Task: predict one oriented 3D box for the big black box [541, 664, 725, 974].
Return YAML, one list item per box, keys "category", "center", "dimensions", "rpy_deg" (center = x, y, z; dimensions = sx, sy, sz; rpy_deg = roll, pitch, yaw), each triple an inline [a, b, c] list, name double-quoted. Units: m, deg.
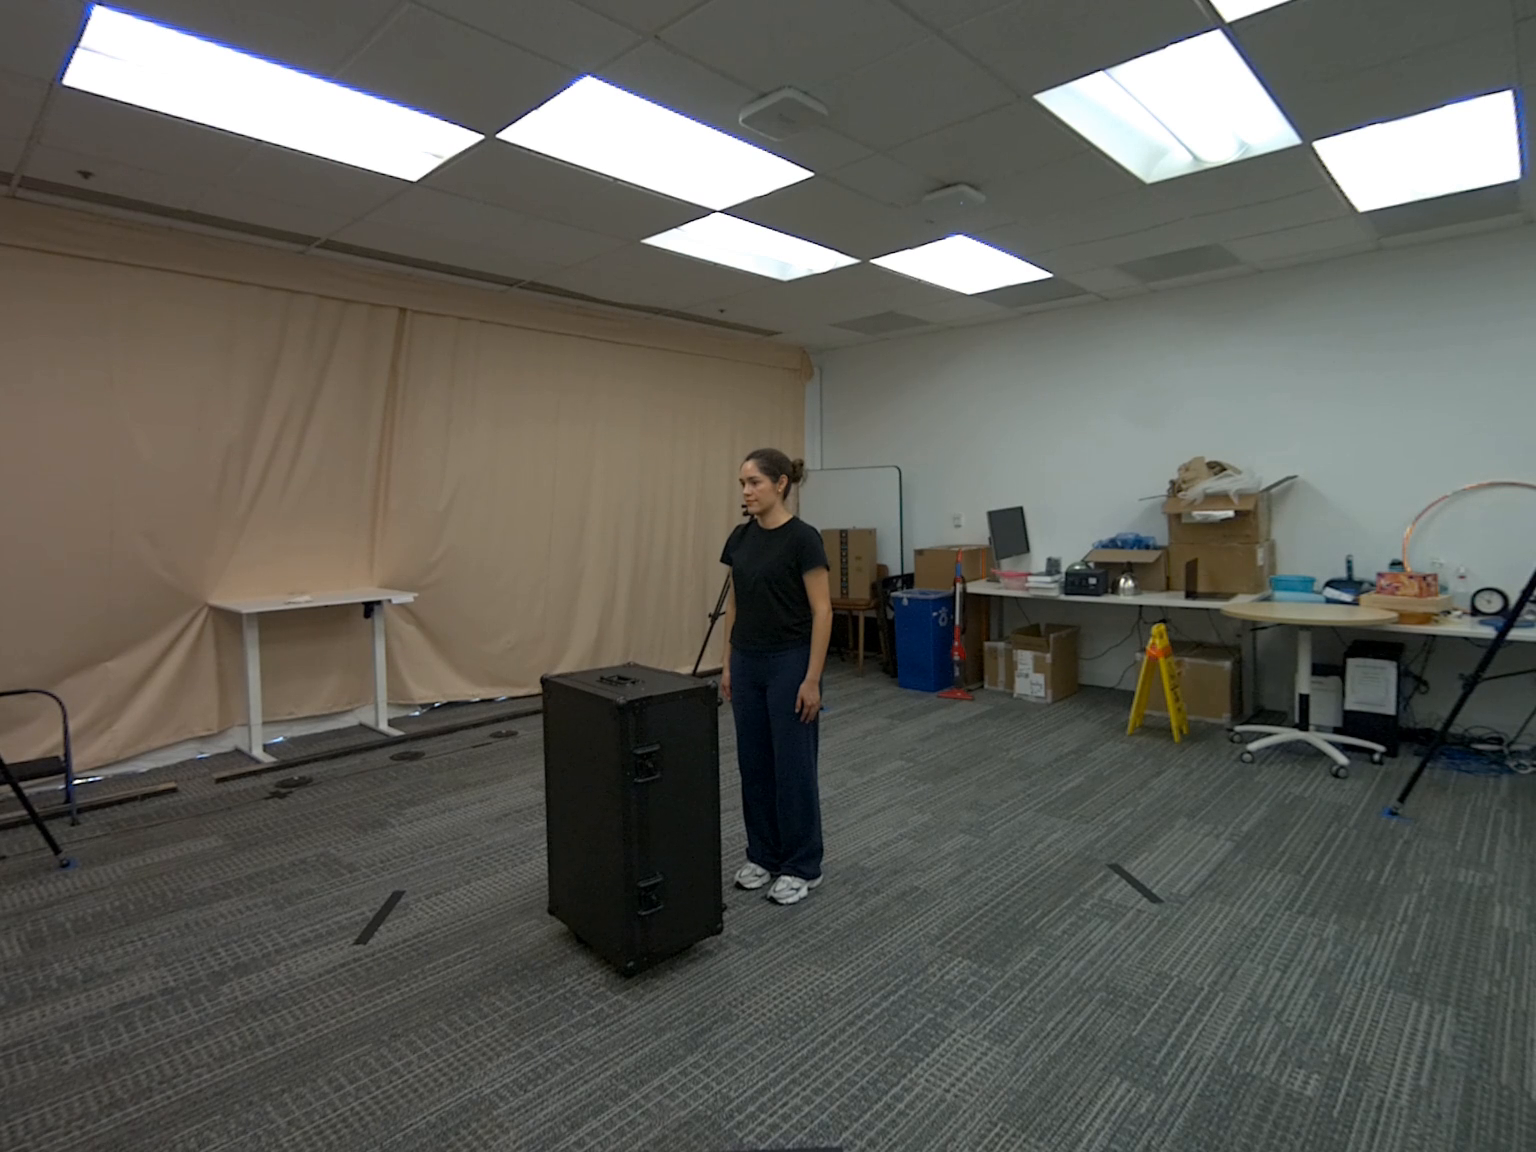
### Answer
- category: "big black box"
  center: [-0.413, 0.692, 2.667]
  dimensions: [0.384, 0.860, 0.538]
  rpy_deg: [-3, 3, -40]
